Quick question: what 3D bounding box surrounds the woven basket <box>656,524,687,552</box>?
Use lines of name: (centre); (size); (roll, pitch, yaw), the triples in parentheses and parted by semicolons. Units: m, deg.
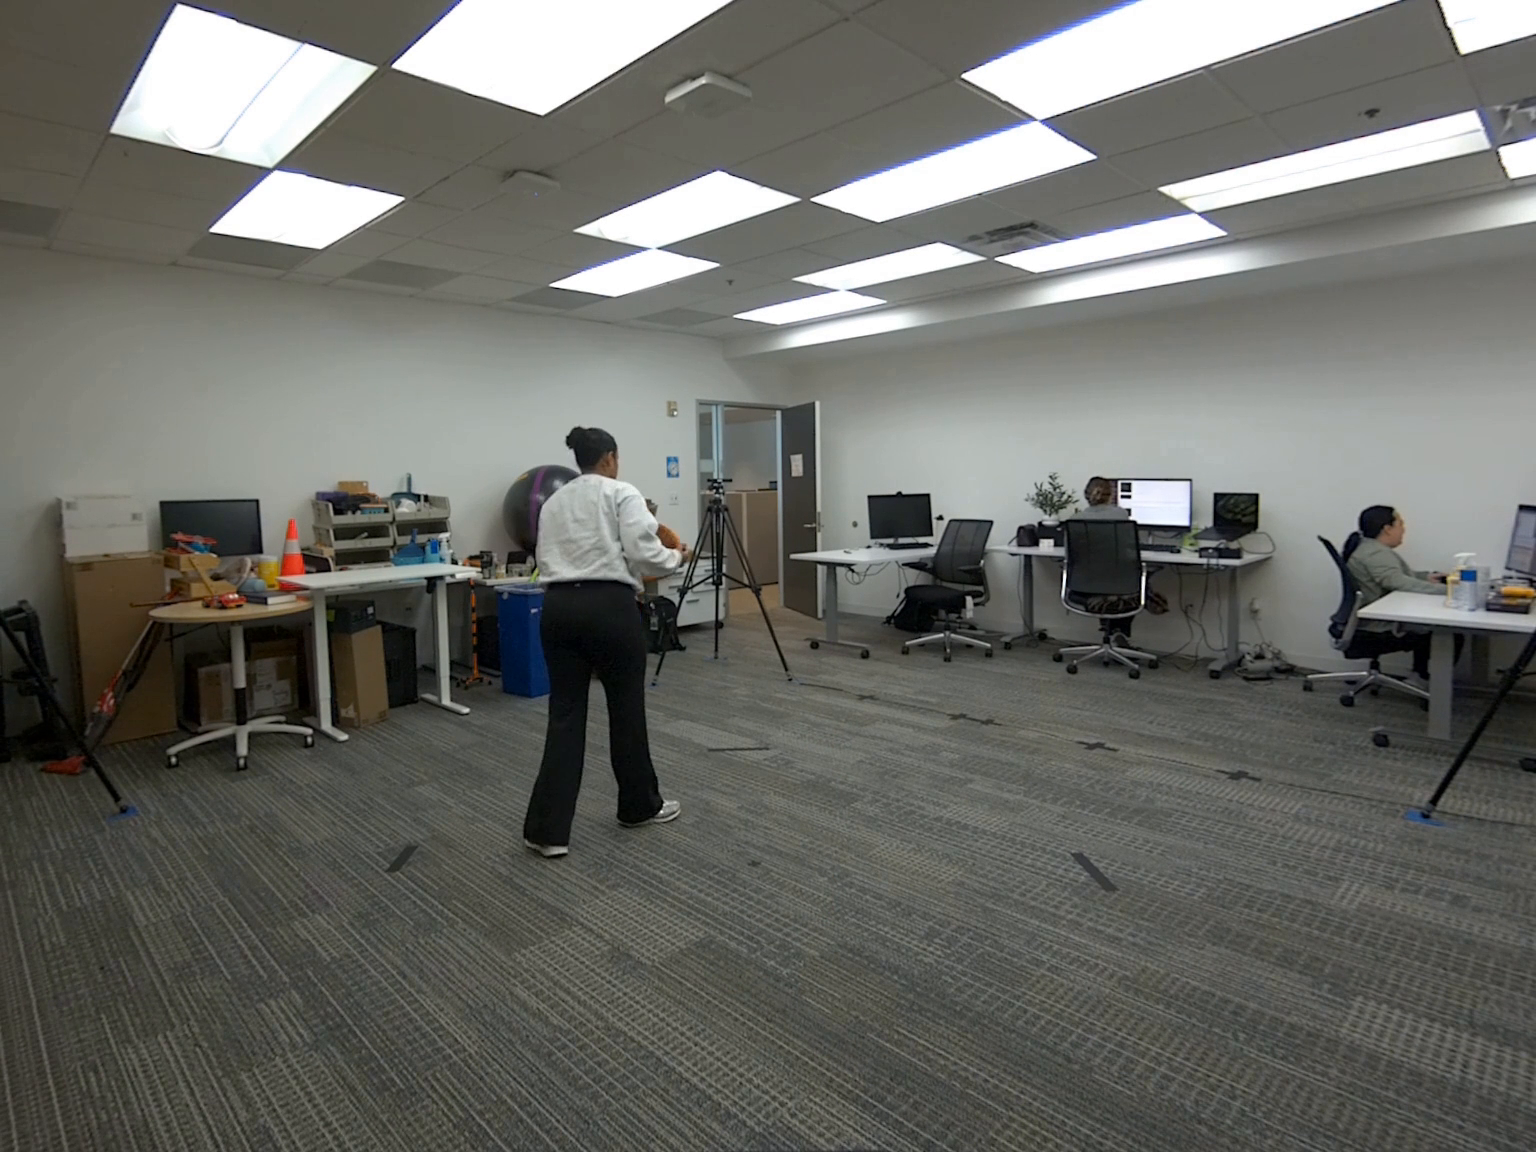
woven basket: (-0.506, -0.095, 3.632); (0.357, 0.250, 0.073); (-11, 10, 29)
